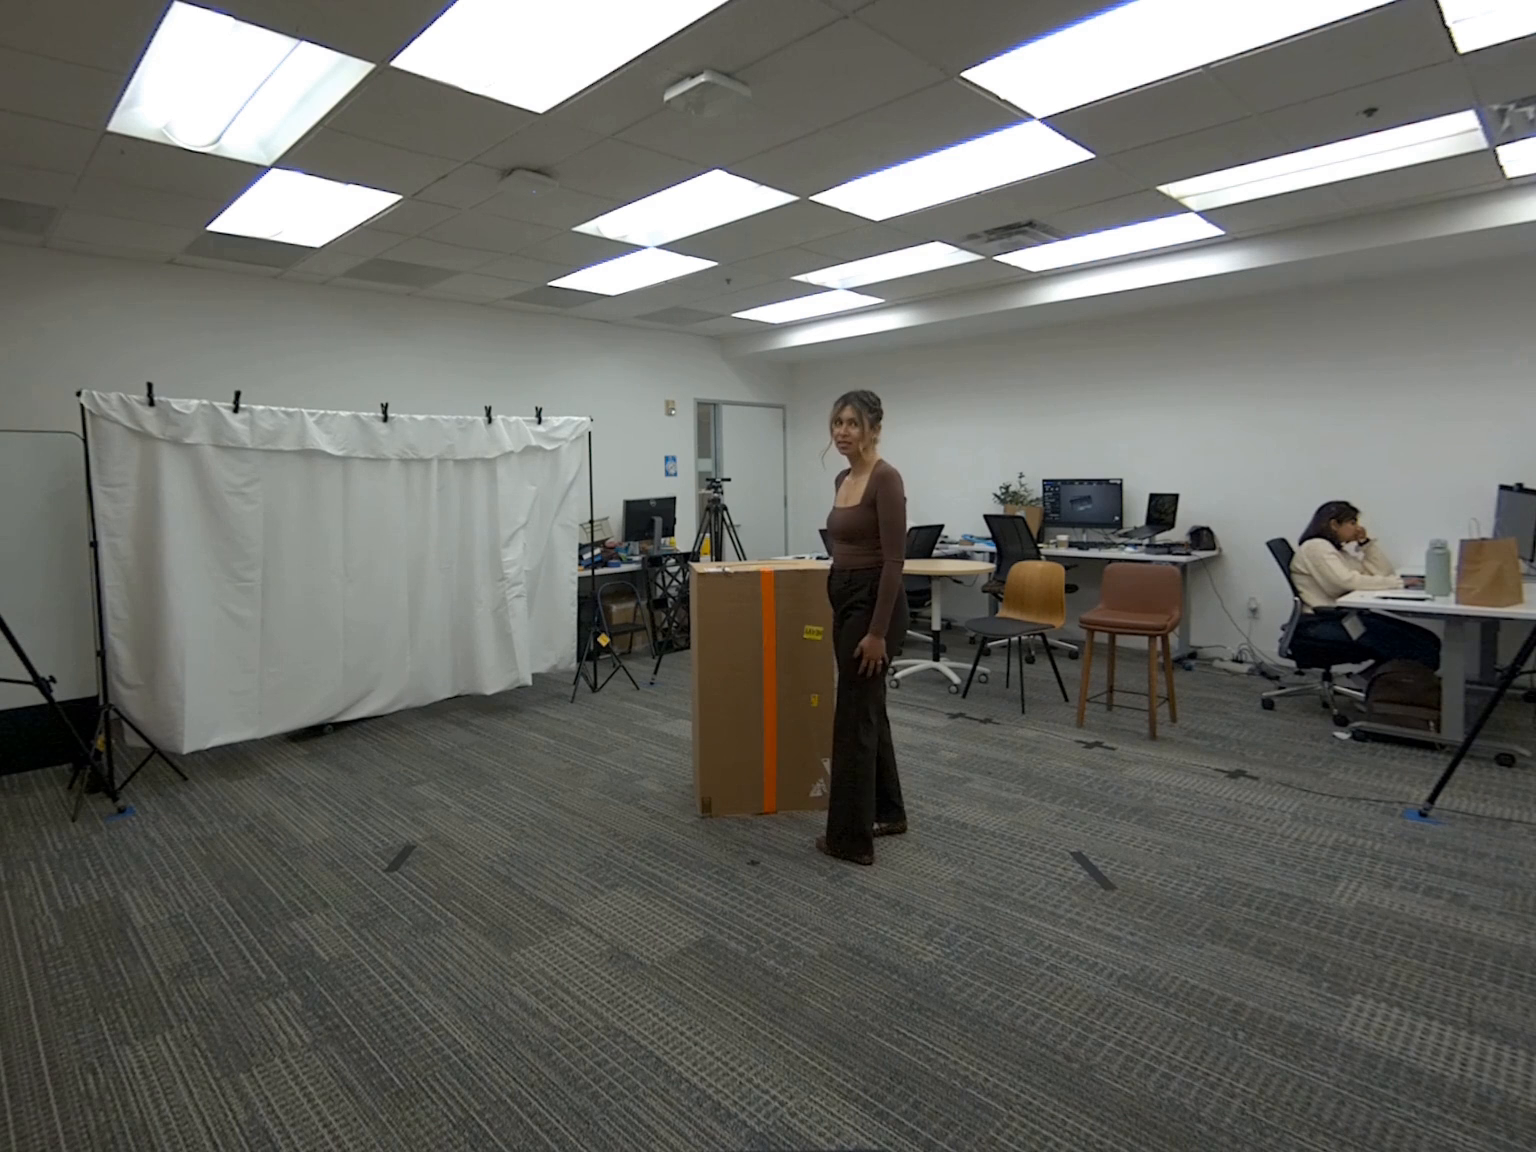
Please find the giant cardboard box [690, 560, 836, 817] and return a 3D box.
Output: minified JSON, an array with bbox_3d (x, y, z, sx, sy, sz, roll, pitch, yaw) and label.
[{"bbox_3d":[-0.036,0.456,3.740,0.580,1.023,0.451,-2,4,-7],"label":"giant cardboard box"}]
